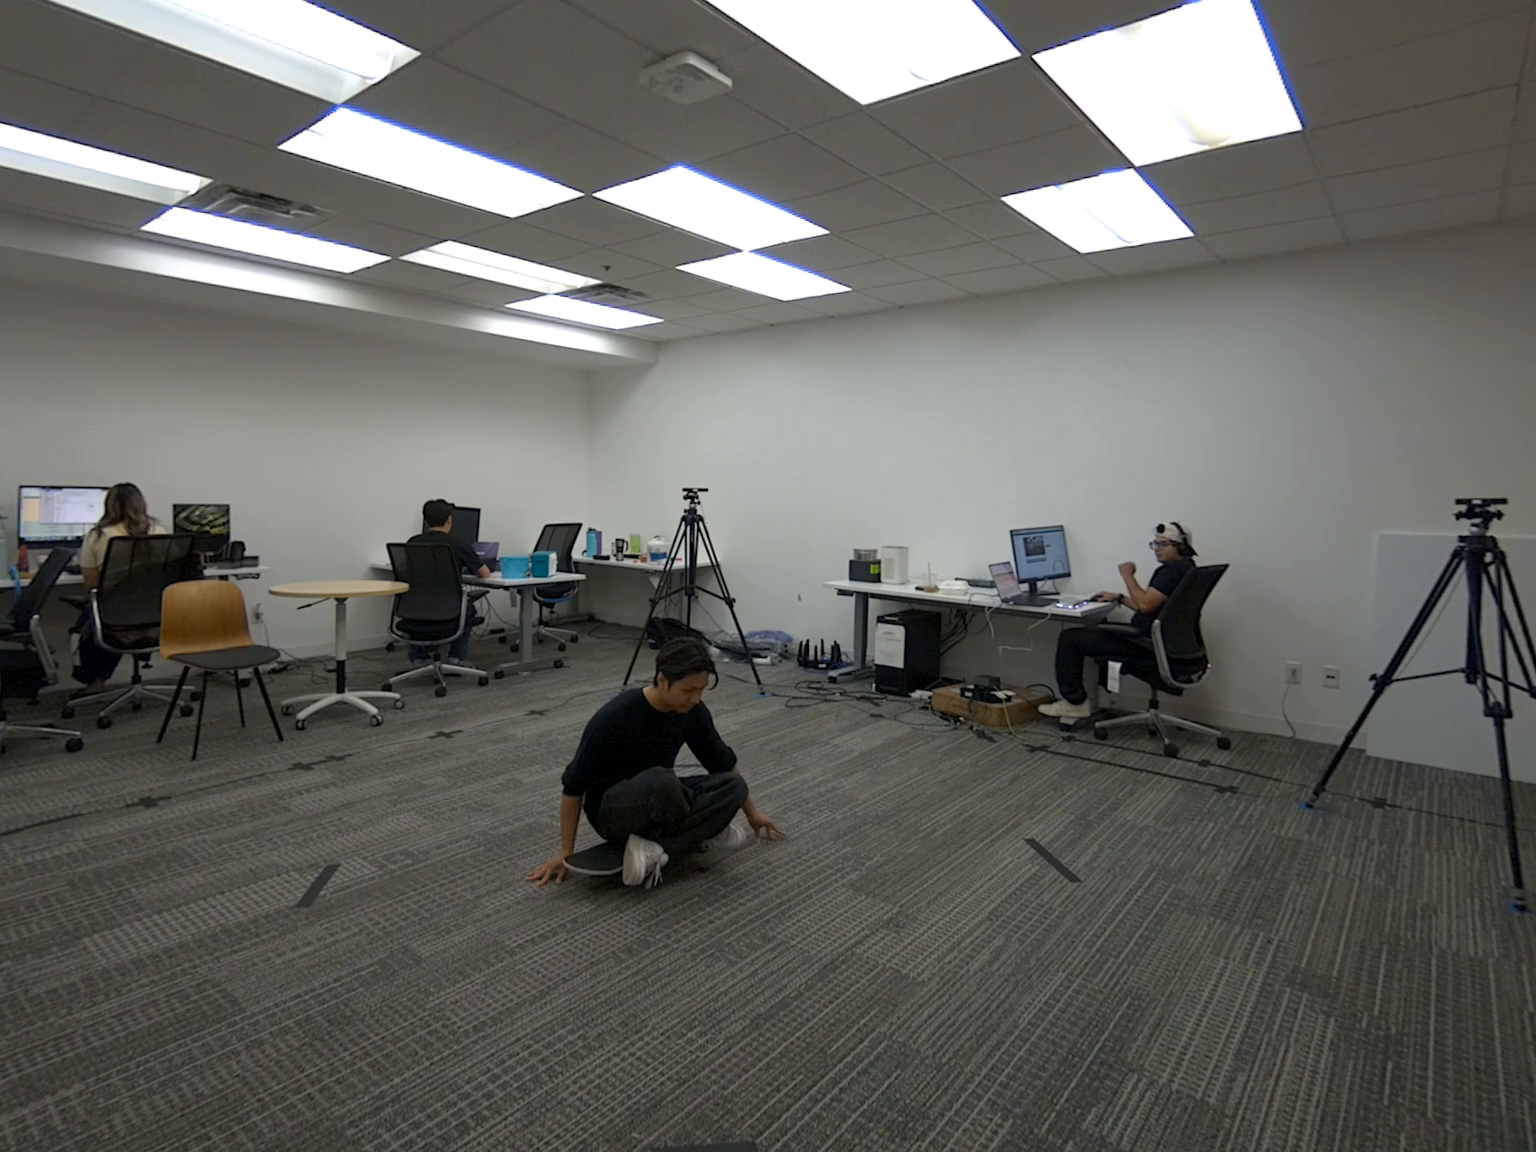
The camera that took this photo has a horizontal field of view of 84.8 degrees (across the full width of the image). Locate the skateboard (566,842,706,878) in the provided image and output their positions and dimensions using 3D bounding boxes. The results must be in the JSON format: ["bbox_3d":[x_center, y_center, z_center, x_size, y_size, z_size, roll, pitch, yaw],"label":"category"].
[{"bbox_3d":[-0.426,1.014,3.161,0.200,0.110,0.764,7,8,35],"label":"skateboard"}]
